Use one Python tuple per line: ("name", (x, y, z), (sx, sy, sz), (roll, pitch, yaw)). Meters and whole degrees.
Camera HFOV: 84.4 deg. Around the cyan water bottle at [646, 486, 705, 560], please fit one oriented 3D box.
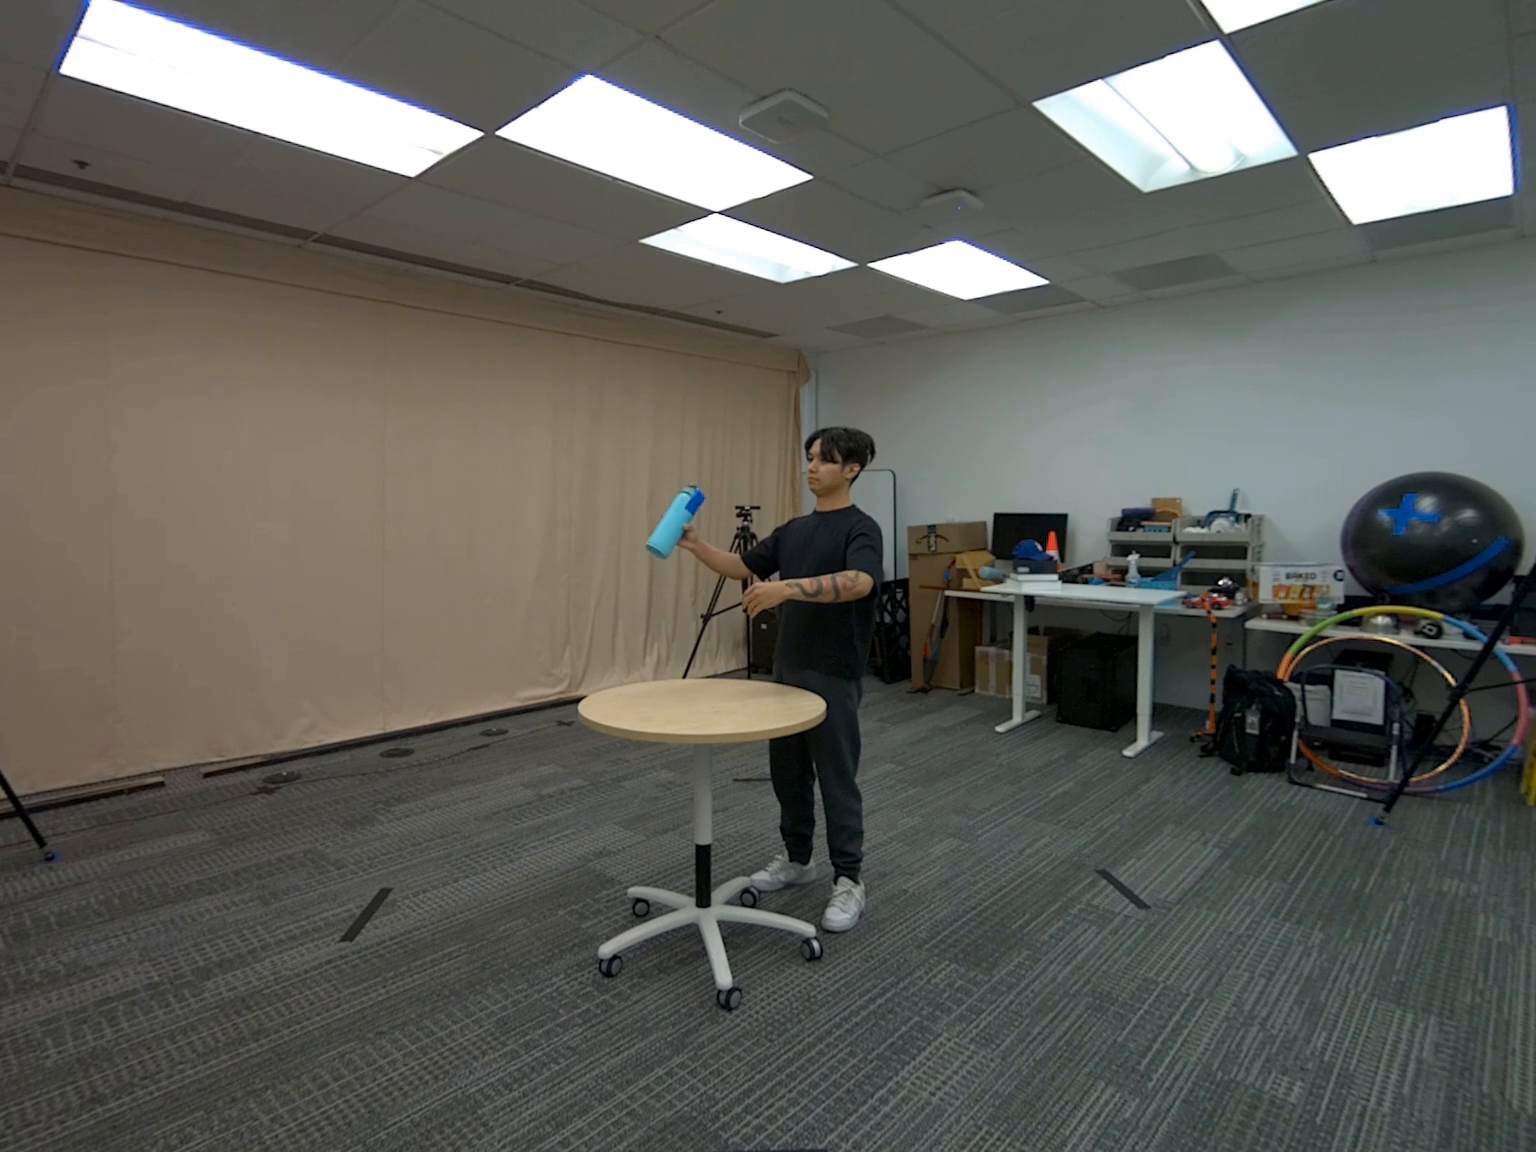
("cyan water bottle", (-0.305, -0.190, 2.923), (0.093, 0.283, 0.091), (29, -15, 7))
